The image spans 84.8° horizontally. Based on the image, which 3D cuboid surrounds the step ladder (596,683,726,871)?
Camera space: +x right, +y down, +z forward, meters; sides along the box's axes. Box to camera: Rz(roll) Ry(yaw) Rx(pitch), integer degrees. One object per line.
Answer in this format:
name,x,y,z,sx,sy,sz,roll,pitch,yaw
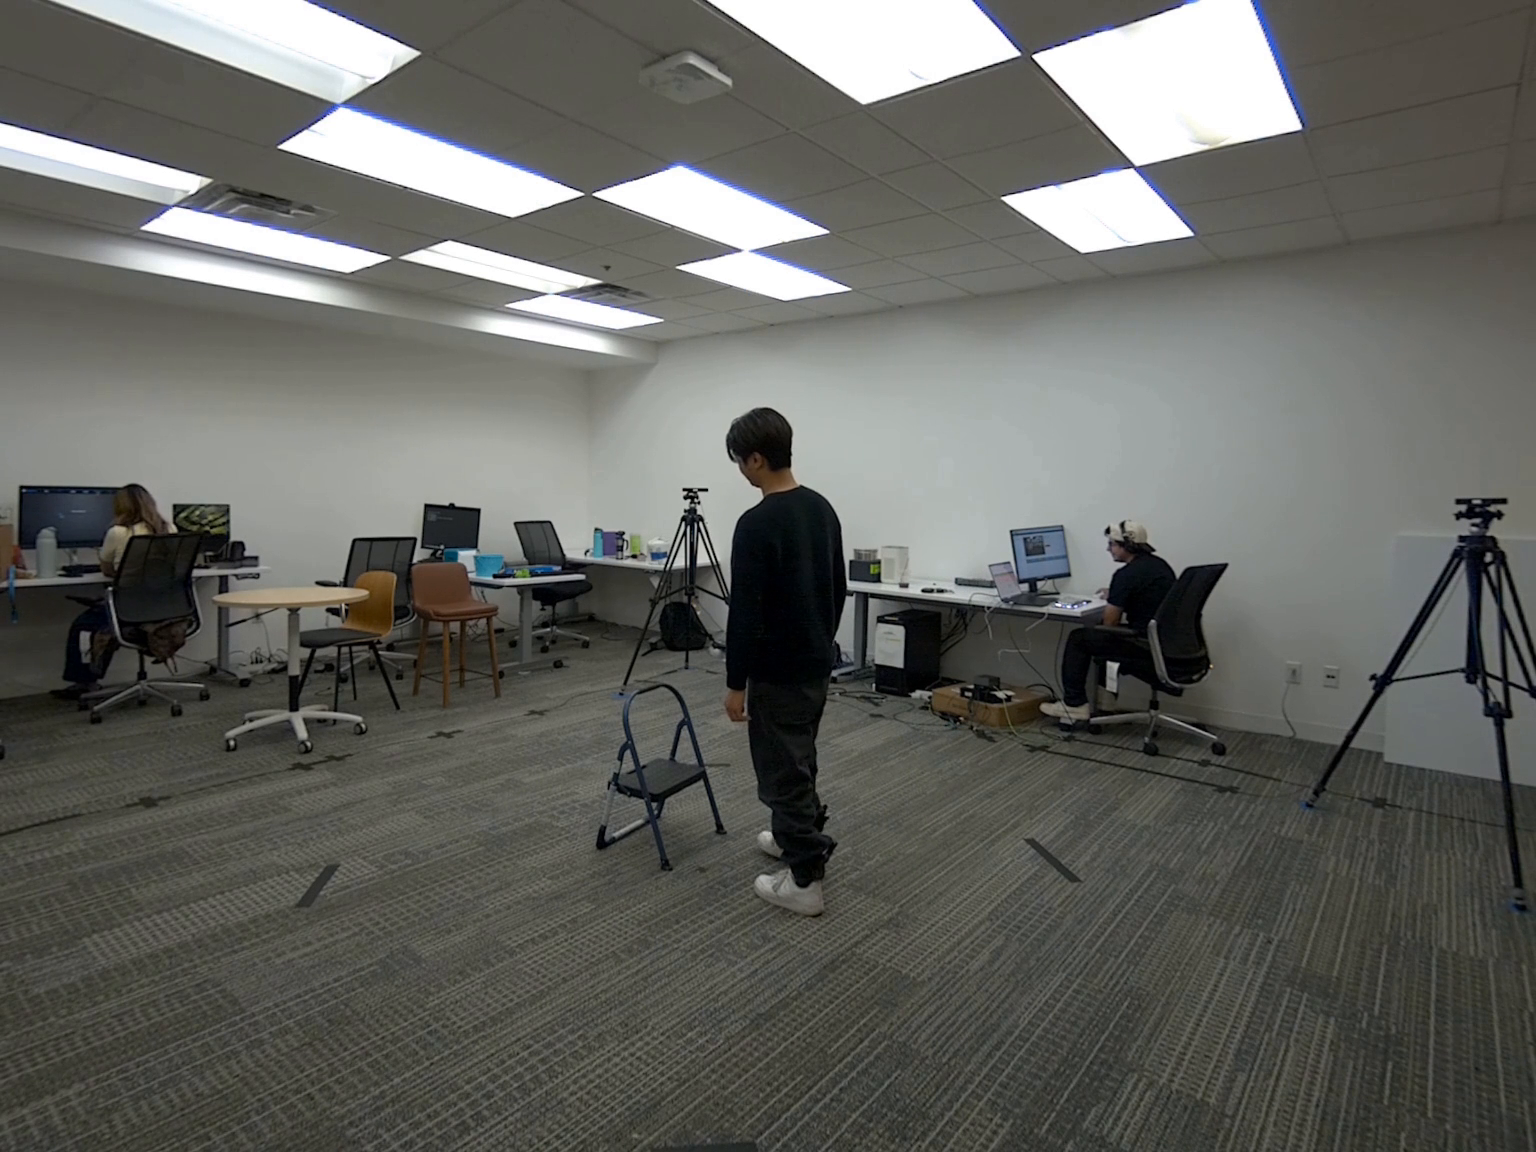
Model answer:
step ladder,-0.424,0.740,3.348,0.359,0.604,0.420,3,4,29
